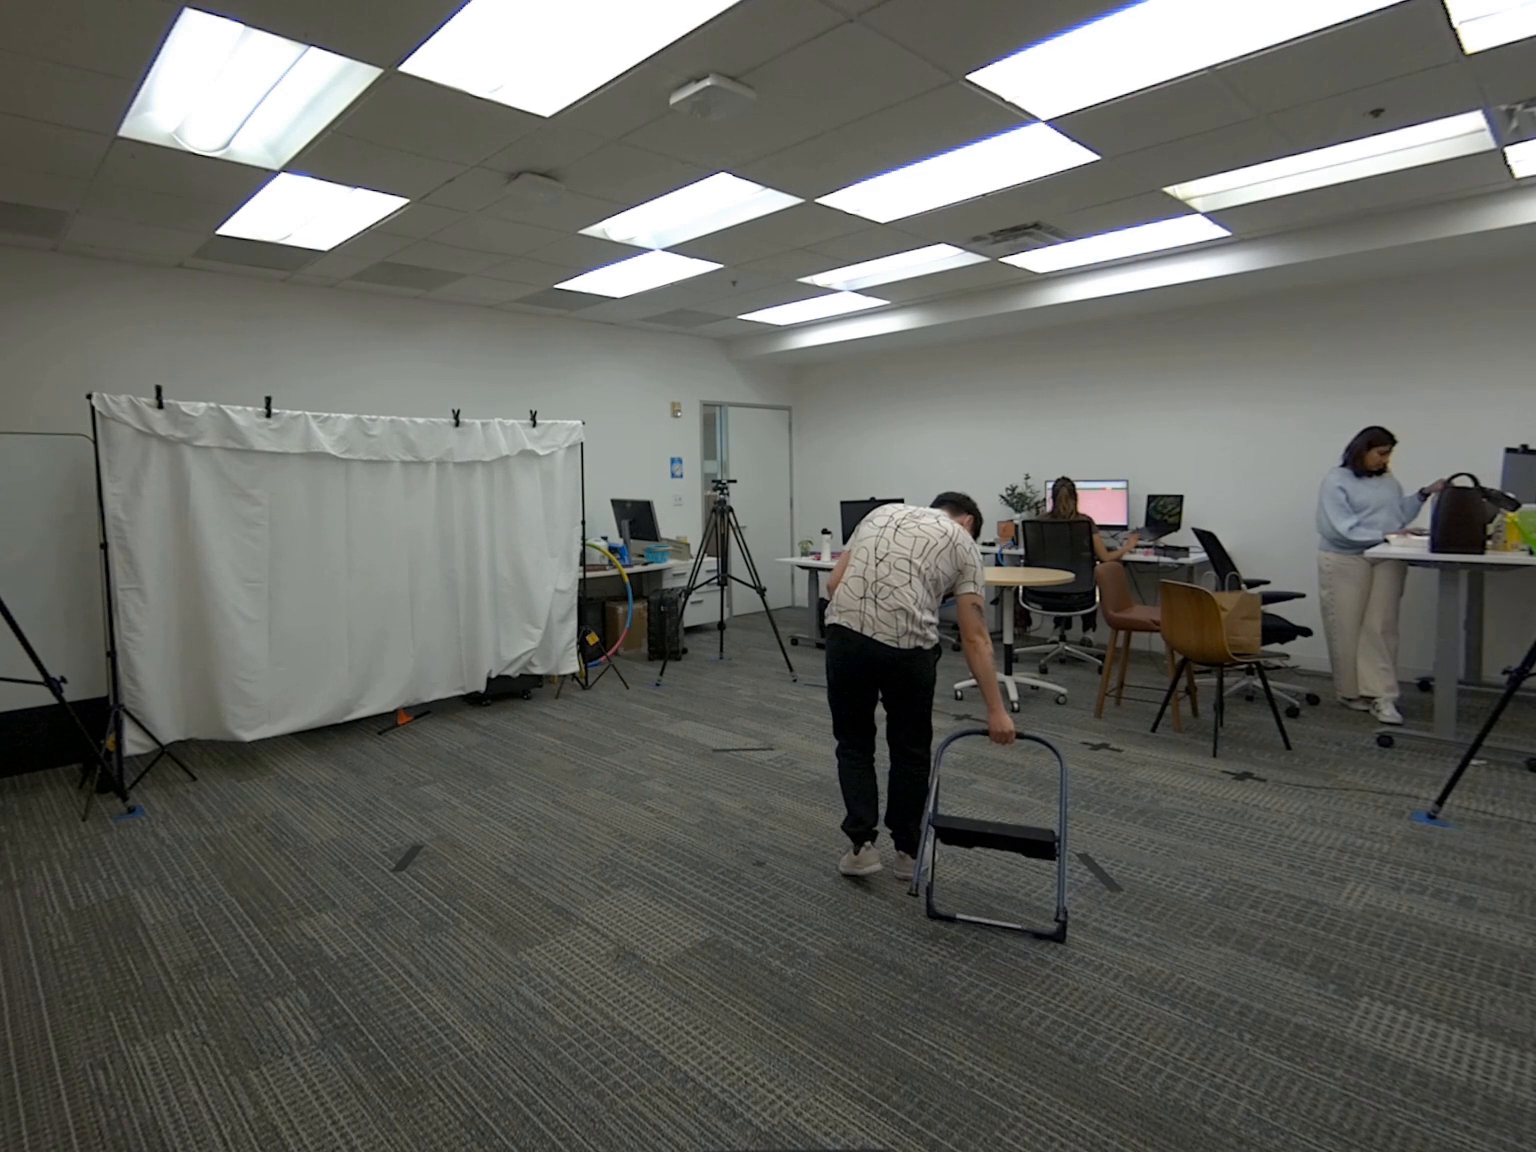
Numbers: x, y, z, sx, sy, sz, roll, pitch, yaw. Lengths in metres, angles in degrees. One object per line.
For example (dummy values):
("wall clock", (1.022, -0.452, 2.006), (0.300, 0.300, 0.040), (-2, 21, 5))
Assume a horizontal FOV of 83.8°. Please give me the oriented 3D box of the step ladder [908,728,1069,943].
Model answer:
("step ladder", (0.719, 0.750, 2.650), (0.439, 0.616, 0.336), (1, -31, 21))
